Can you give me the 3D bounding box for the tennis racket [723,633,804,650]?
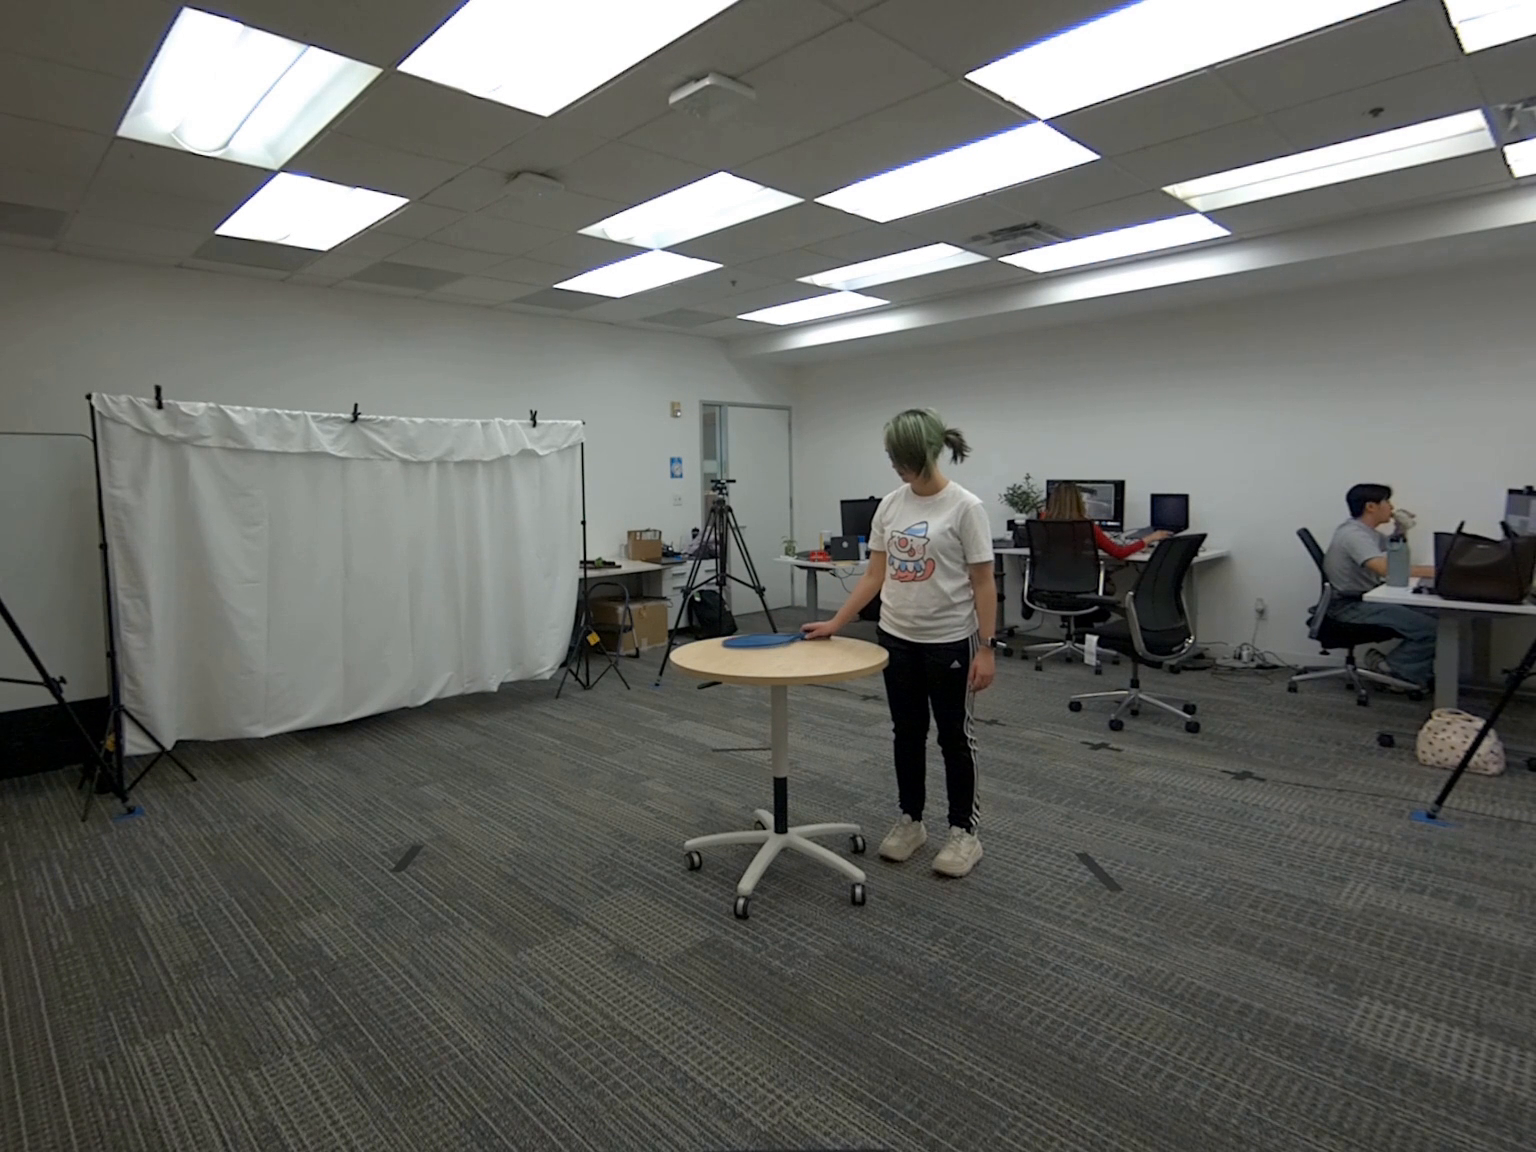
[{"bbox_3d":[0.042,0.237,3.211,0.428,0.031,0.217,-4,6,-12],"label":"tennis racket"}]
